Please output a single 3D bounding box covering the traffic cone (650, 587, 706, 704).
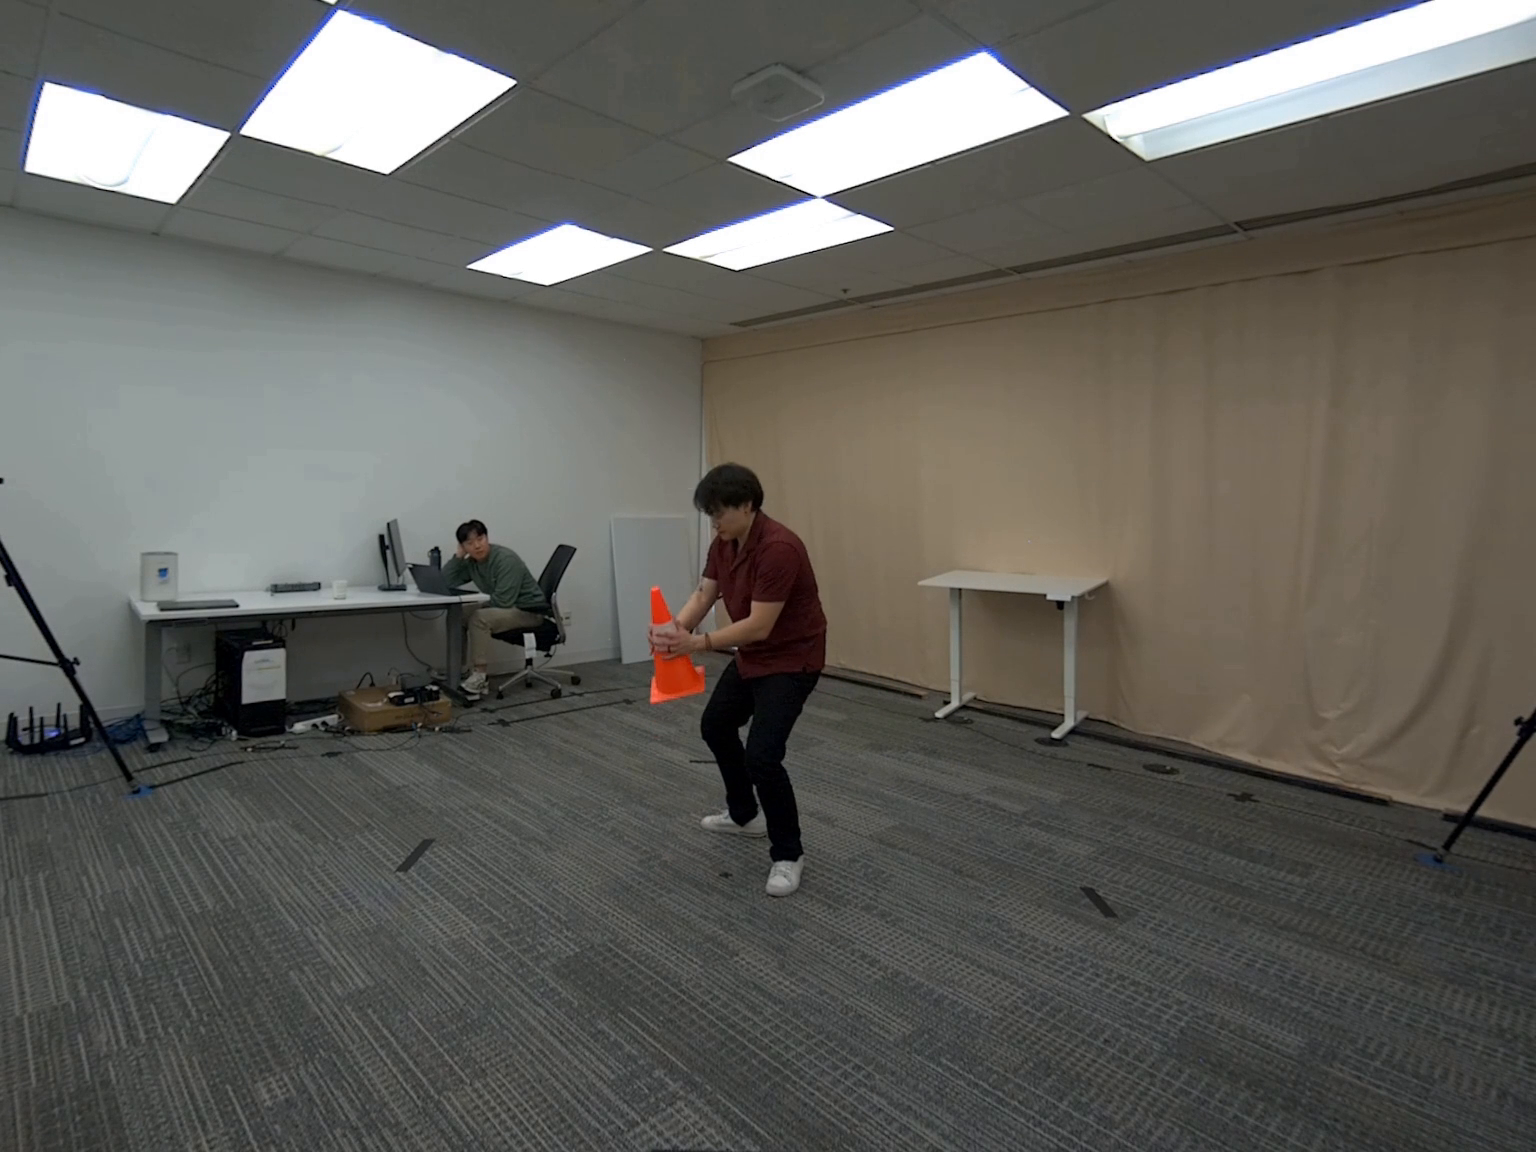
[{"bbox_3d":[-0.367,0.229,2.985,0.205,0.378,0.206,-9,17,1],"label":"traffic cone"}]
